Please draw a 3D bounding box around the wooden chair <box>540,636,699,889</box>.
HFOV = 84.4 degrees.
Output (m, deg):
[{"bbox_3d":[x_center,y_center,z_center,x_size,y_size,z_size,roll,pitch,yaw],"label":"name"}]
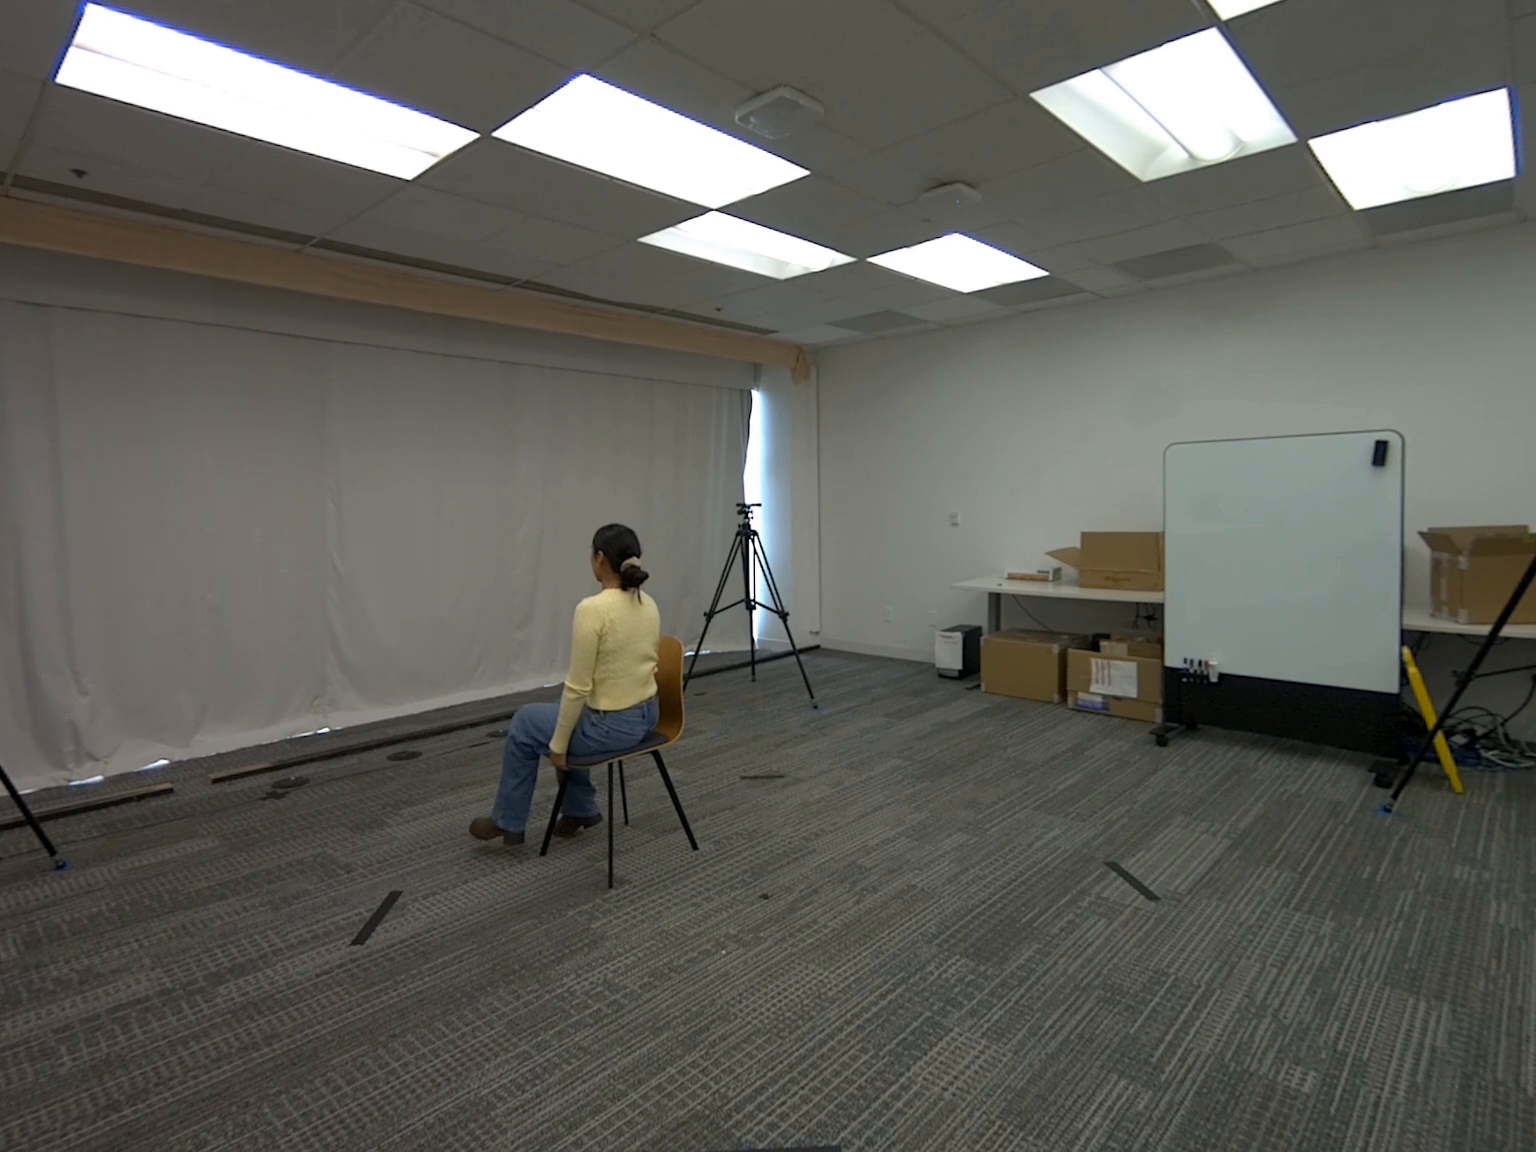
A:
[{"bbox_3d":[-0.603,0.690,3.343,0.494,0.877,0.506,2,1,43],"label":"wooden chair"}]
